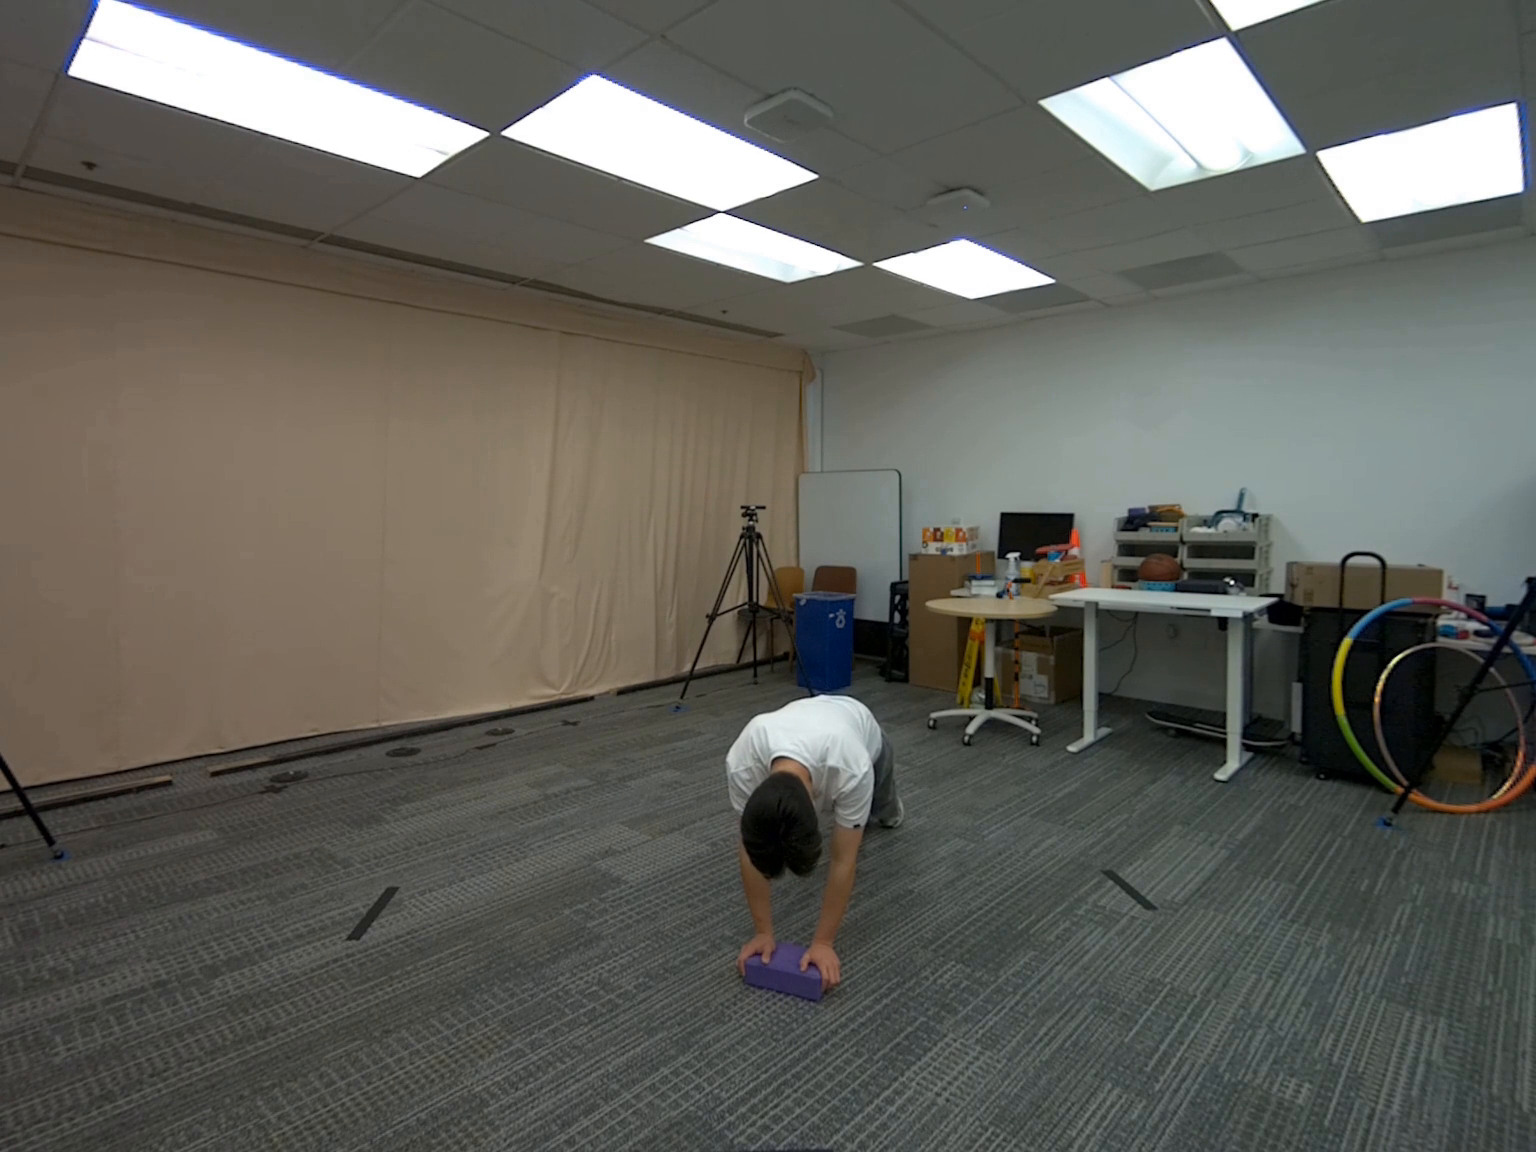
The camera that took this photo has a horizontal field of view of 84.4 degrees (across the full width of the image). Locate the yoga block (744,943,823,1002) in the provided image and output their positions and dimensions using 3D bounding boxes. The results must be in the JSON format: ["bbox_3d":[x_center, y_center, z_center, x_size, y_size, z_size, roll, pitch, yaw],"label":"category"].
[{"bbox_3d":[0.076,1.157,2.457,0.235,0.076,0.146,4,9,25],"label":"yoga block"}]
